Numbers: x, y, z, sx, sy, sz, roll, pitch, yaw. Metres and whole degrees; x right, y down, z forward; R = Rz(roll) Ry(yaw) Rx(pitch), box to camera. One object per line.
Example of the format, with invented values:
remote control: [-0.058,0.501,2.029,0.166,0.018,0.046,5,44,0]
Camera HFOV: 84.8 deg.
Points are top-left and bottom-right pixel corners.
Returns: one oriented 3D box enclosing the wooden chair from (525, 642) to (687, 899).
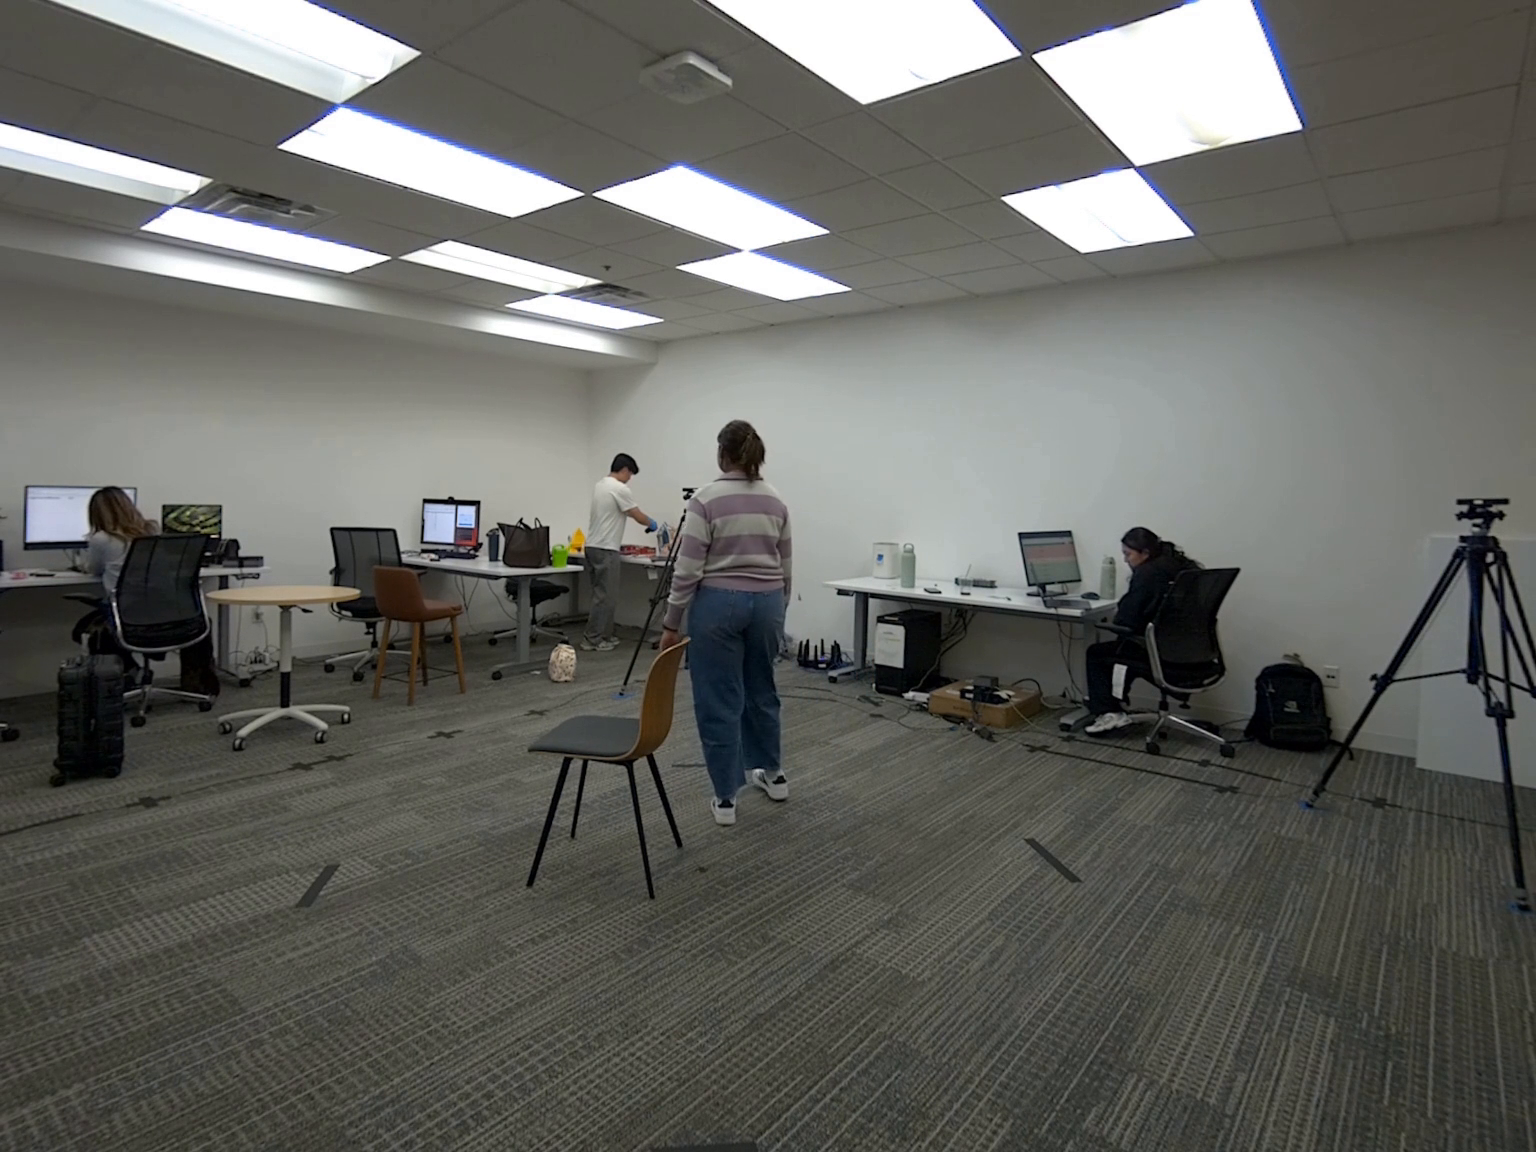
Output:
wooden chair: [-0.594,0.638,3.099,0.529,0.875,0.474,5,4,9]
